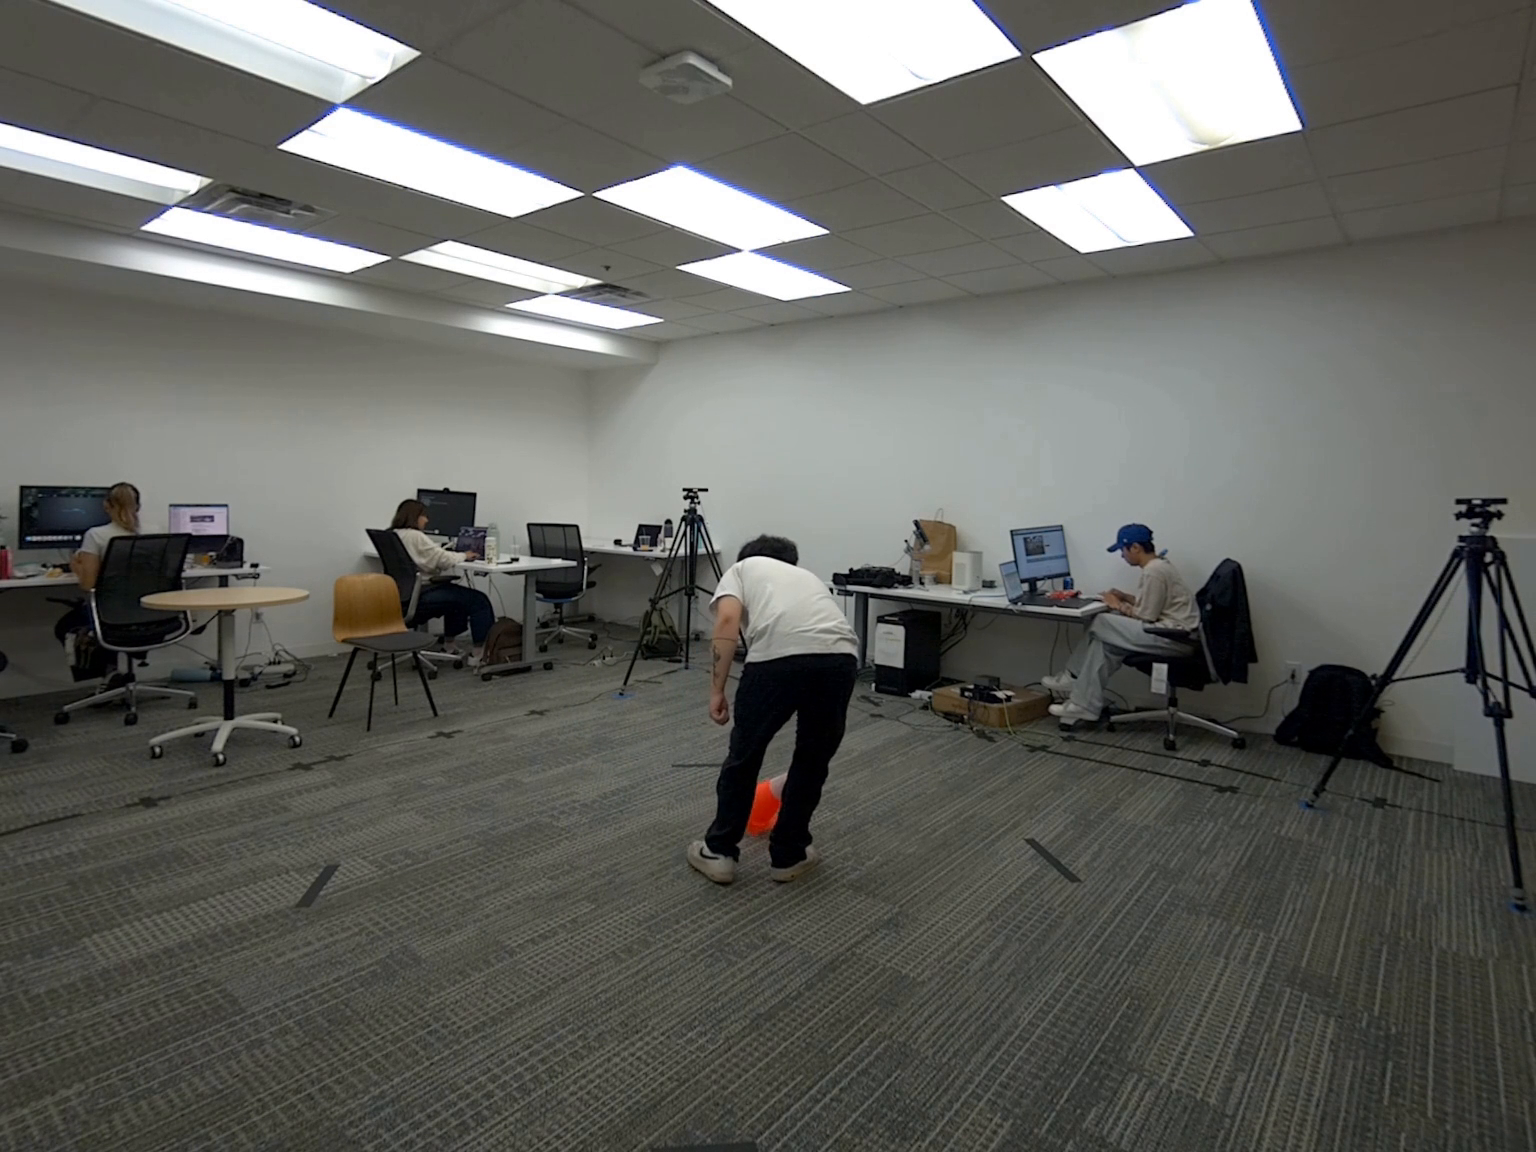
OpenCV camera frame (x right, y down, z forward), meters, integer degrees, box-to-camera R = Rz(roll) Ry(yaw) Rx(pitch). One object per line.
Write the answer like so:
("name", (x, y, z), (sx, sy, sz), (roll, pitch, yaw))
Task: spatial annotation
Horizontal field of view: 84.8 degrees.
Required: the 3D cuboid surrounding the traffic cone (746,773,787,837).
("traffic cone", (0.043, 0.845, 3.419), (0.199, 0.209, 0.384), (-3, -35, -48))
